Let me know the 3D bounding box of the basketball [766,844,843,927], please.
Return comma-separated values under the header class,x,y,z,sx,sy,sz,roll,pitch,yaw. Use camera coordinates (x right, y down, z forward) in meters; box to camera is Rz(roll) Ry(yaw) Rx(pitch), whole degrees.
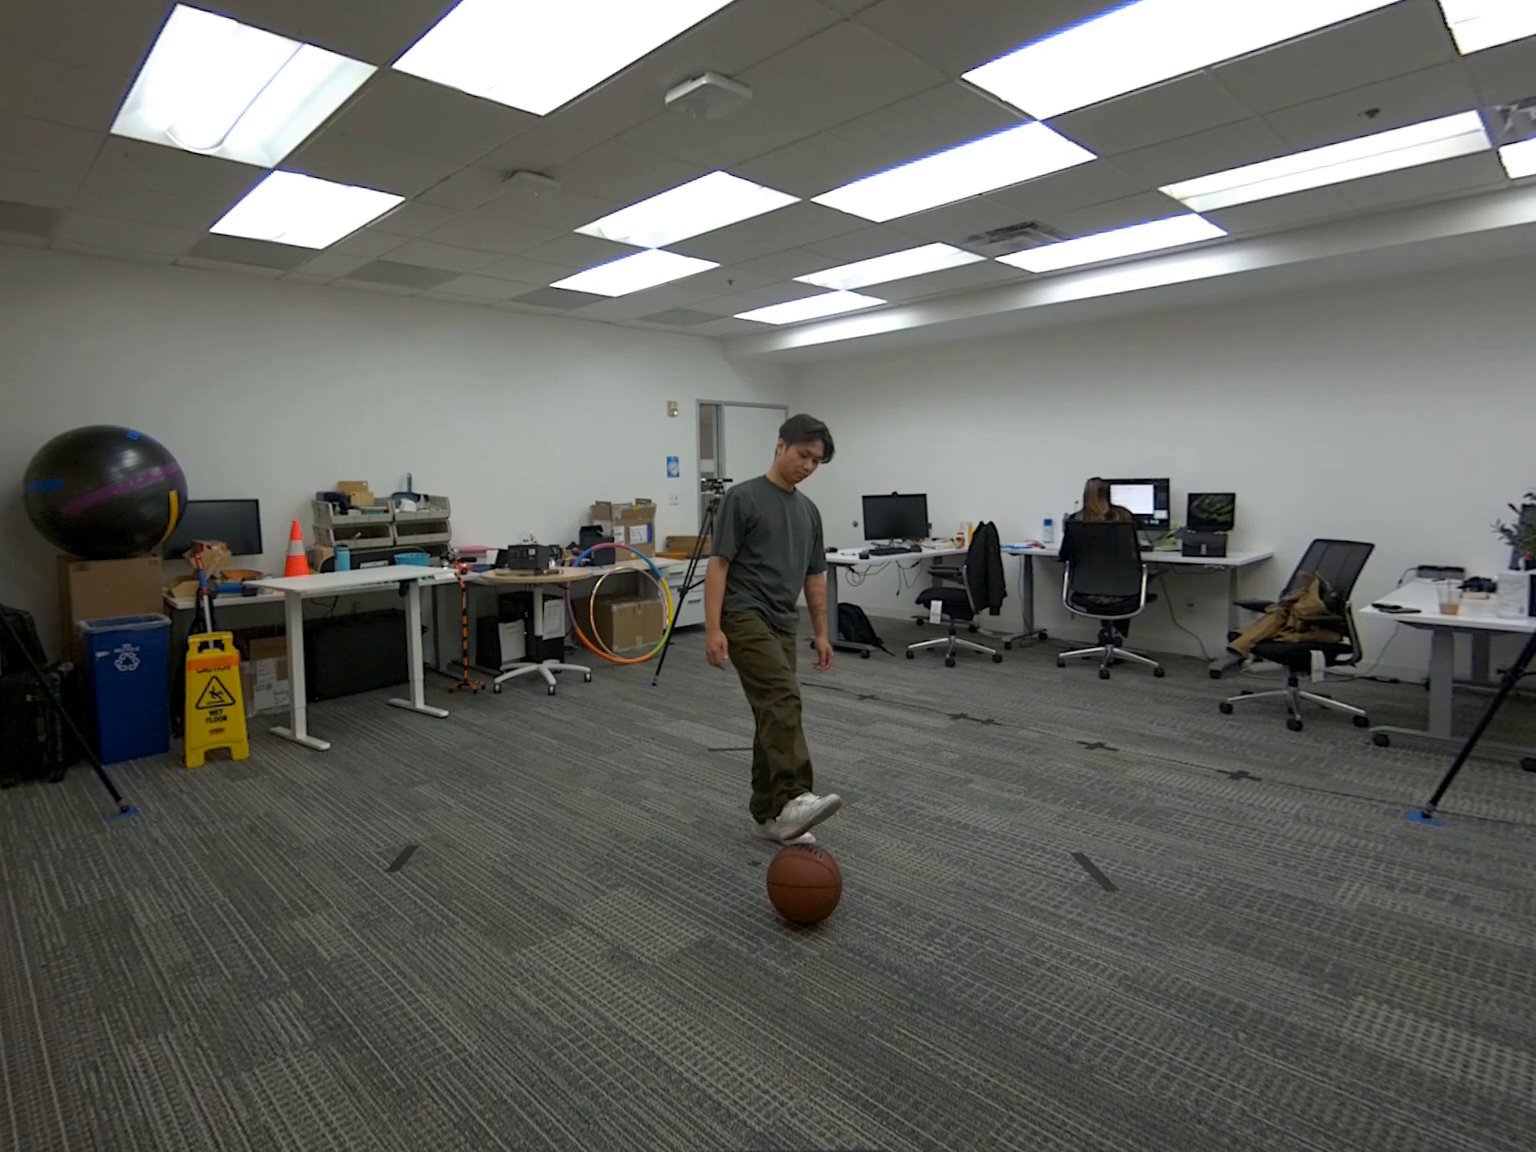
class,x,y,z,sx,sy,sz,roll,pitch,yaw
basketball,0.116,0.975,2.698,0.236,0.235,0.237,-1,5,-2
